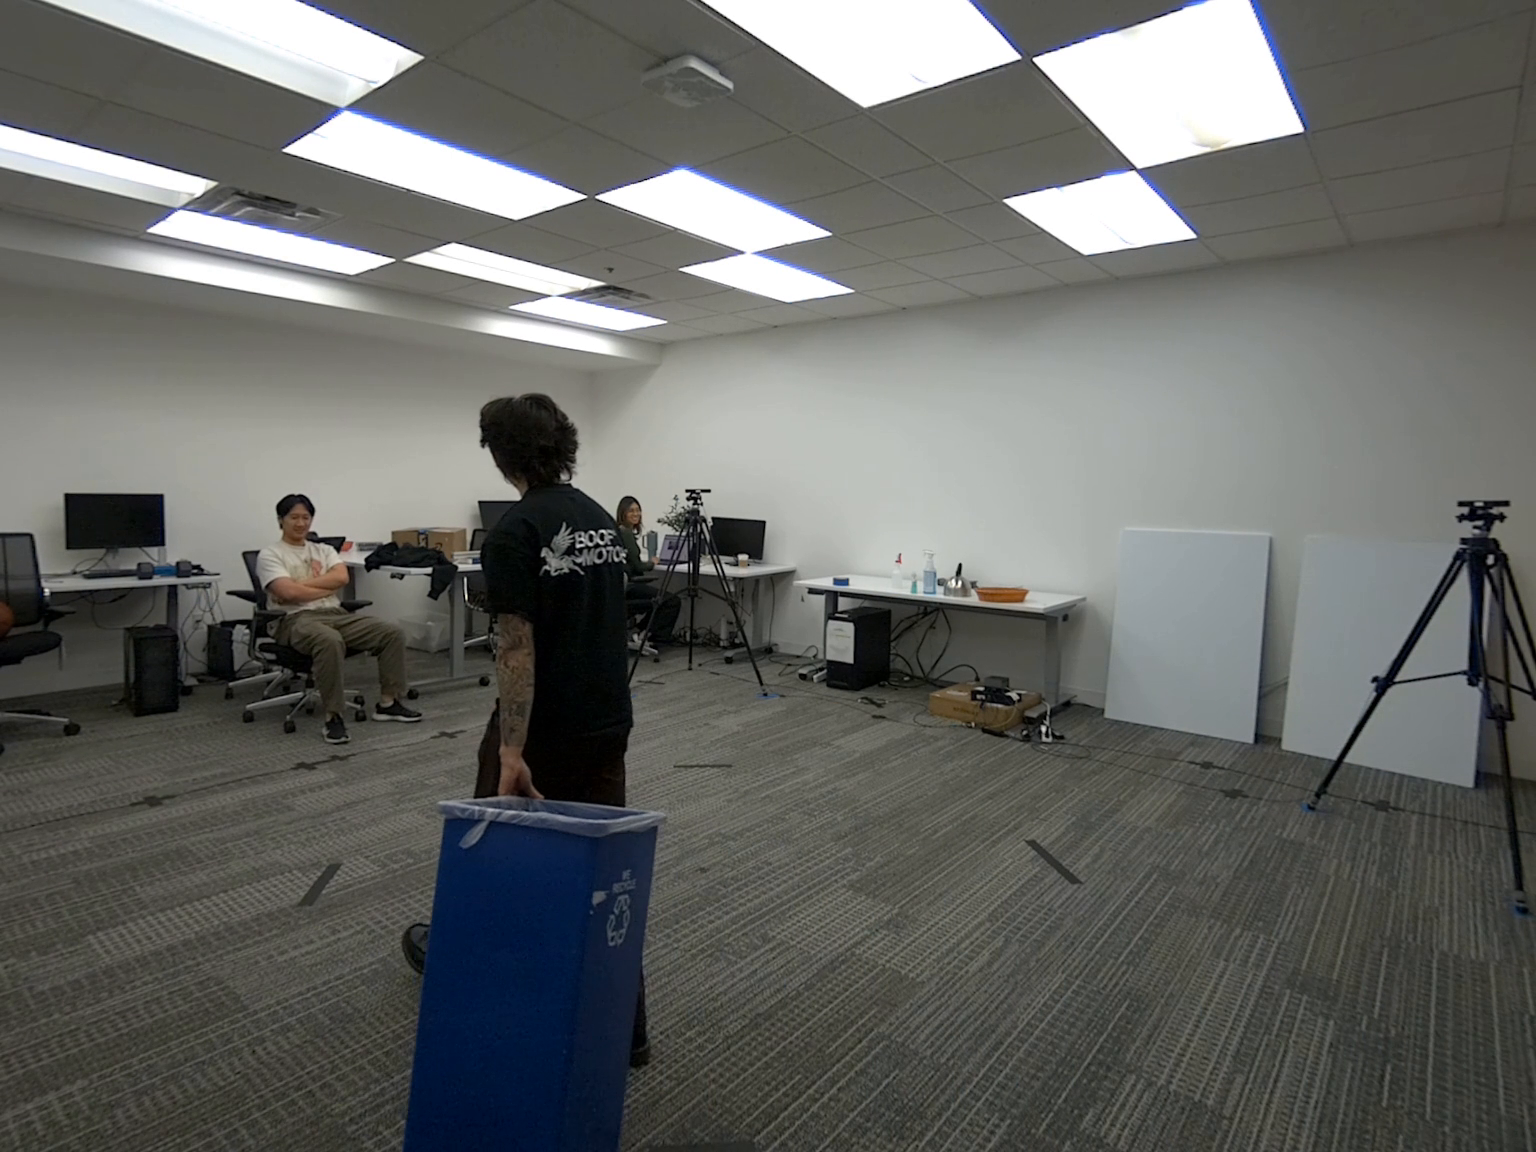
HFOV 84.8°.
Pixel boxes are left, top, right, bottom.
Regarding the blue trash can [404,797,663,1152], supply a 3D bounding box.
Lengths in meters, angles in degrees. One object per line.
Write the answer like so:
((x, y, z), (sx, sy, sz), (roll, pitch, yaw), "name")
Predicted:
((-0.461, 0.829, 1.690), (0.384, 0.721, 0.364), (1, -13, 14), "blue trash can")
